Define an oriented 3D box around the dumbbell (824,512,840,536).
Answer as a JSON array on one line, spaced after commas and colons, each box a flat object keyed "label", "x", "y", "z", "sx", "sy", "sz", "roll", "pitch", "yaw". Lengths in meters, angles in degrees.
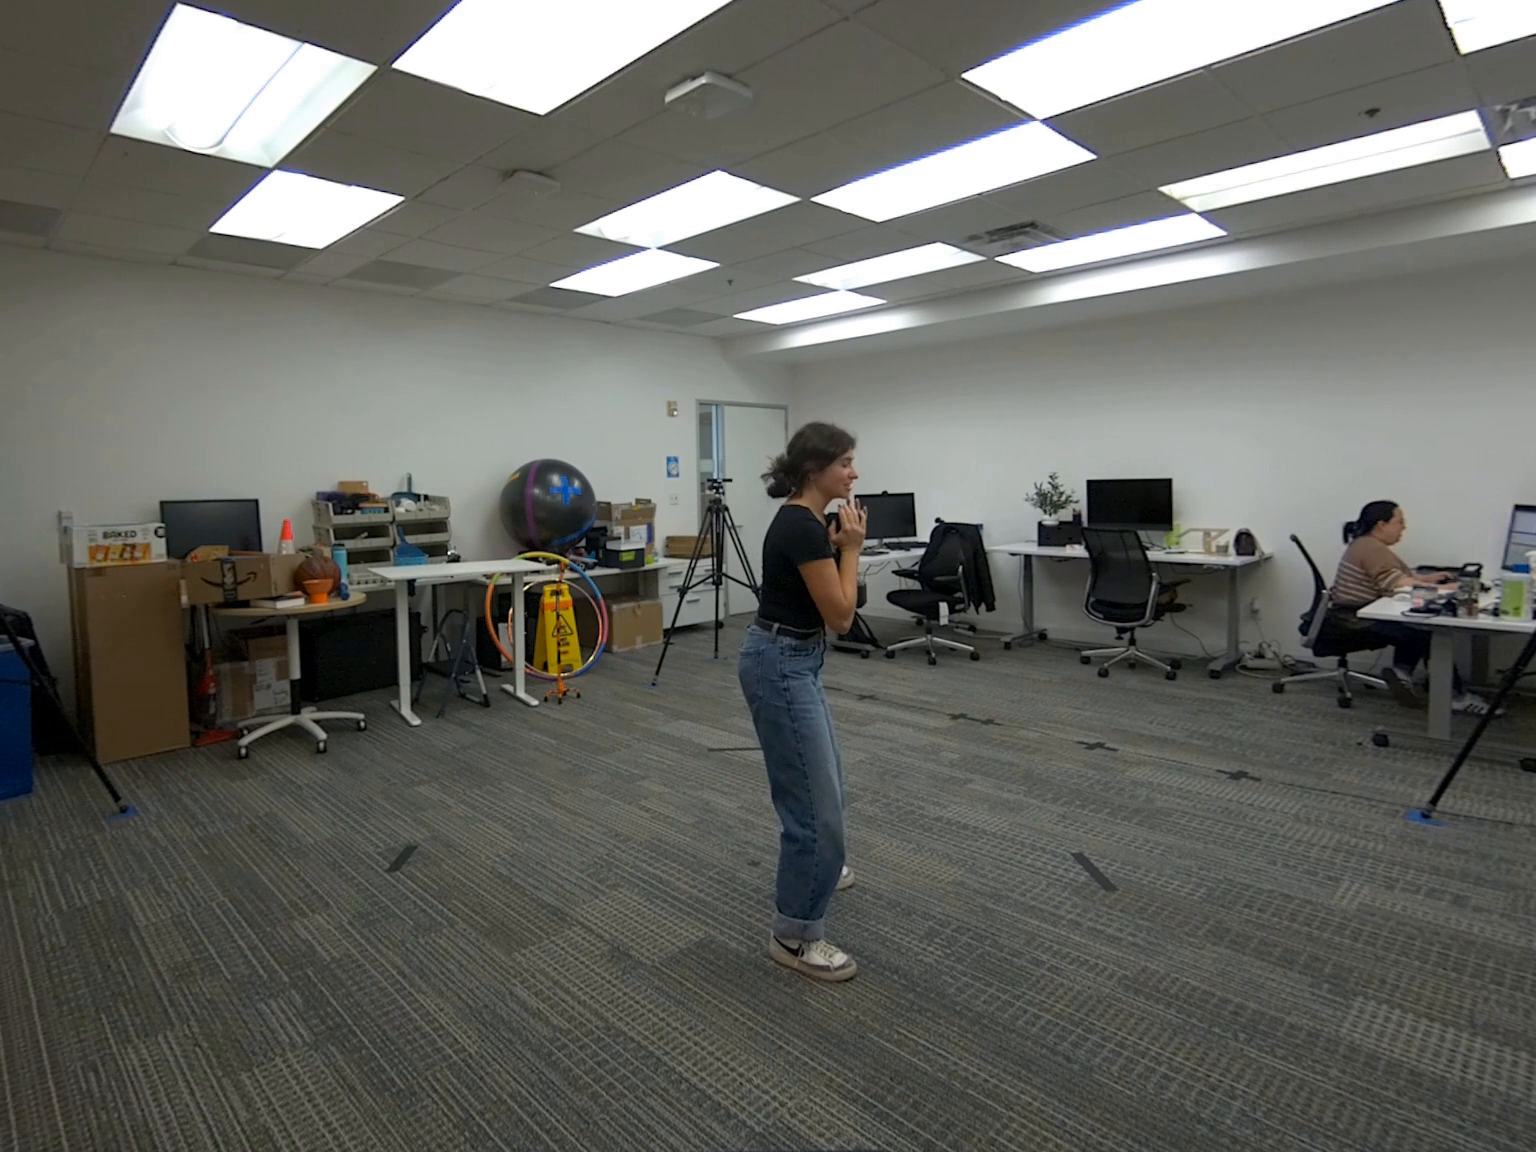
[{"label": "dumbbell", "x": 0.221, "y": -0.037, "z": 2.582, "sx": 0.124, "sy": 0.292, "sz": 0.108, "roll": 4, "pitch": 6, "yaw": 12}]
